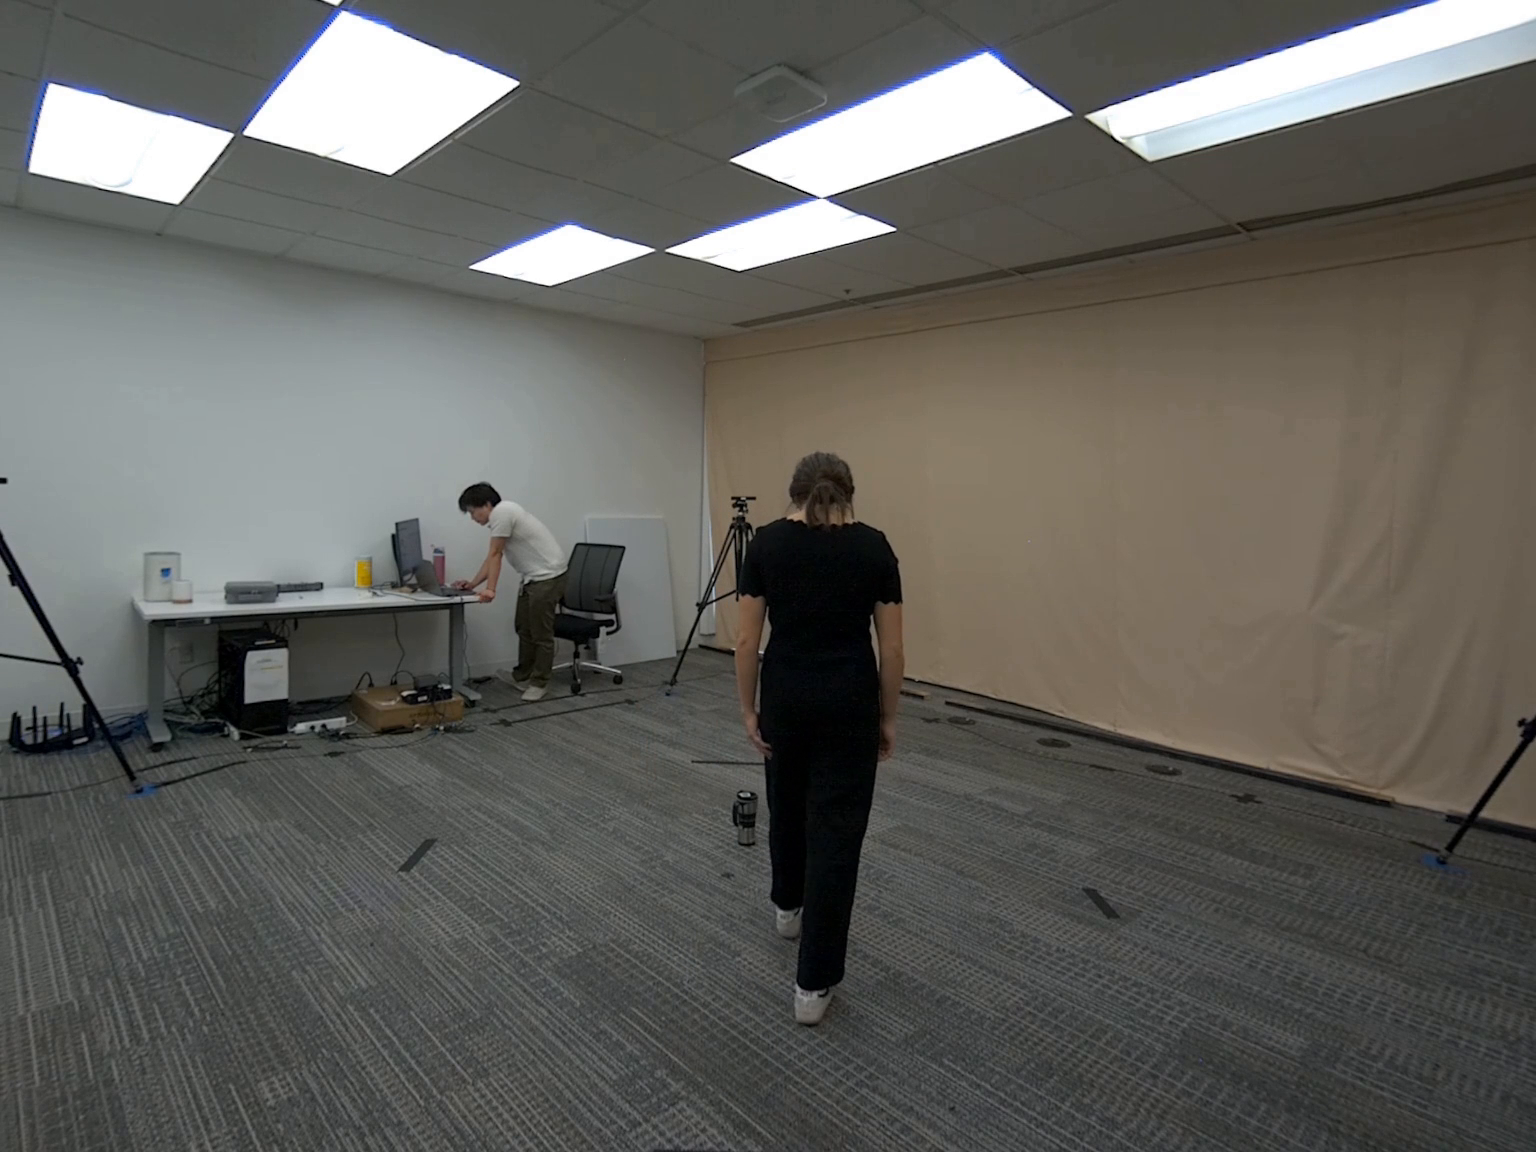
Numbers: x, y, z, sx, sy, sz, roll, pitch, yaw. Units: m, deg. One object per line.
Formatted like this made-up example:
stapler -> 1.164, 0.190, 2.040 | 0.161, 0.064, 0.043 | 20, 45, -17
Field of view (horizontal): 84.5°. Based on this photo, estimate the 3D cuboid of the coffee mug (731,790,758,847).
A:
coffee mug -> -0.114, 0.980, 3.388 | 0.119, 0.202, 0.090 | 3, 6, -32
